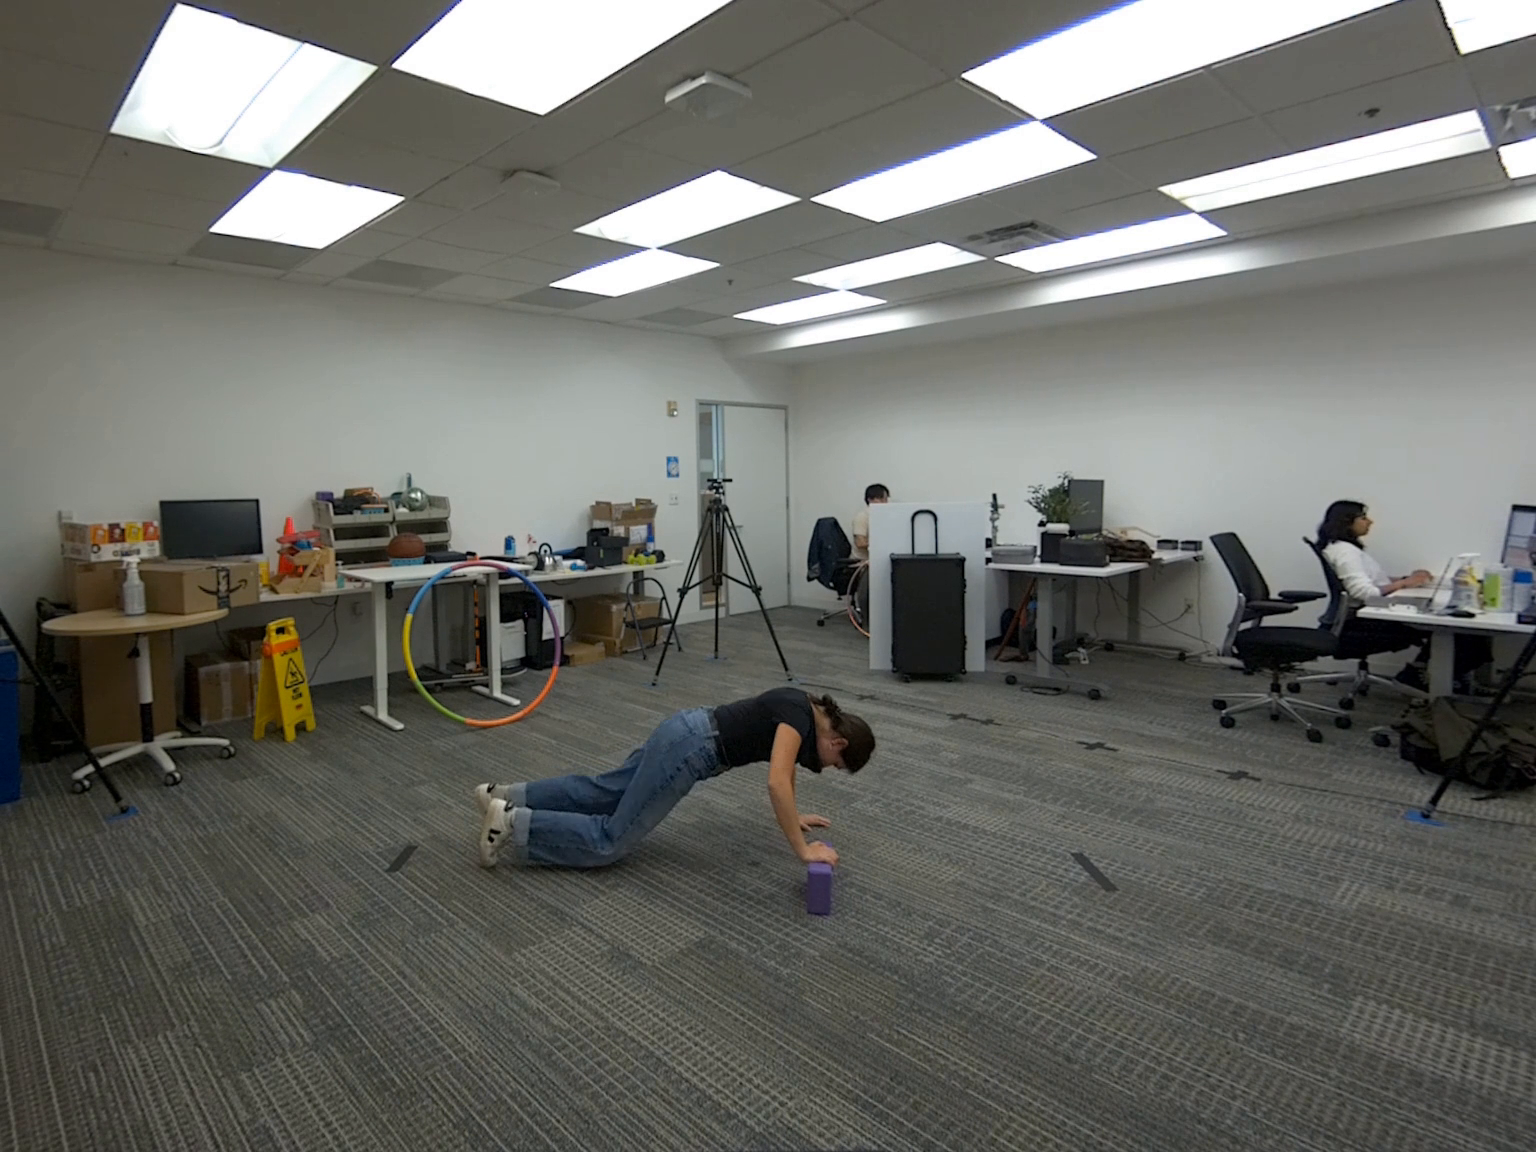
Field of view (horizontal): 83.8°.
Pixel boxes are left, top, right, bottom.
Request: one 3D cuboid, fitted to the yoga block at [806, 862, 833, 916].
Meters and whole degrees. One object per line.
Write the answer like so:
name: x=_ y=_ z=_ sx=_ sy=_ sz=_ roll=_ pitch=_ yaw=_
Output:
yoga block: x=0.172 y=1.001 z=2.847 sx=0.077 sy=0.148 sz=0.229 roll=-2 pitch=5 yaw=3
